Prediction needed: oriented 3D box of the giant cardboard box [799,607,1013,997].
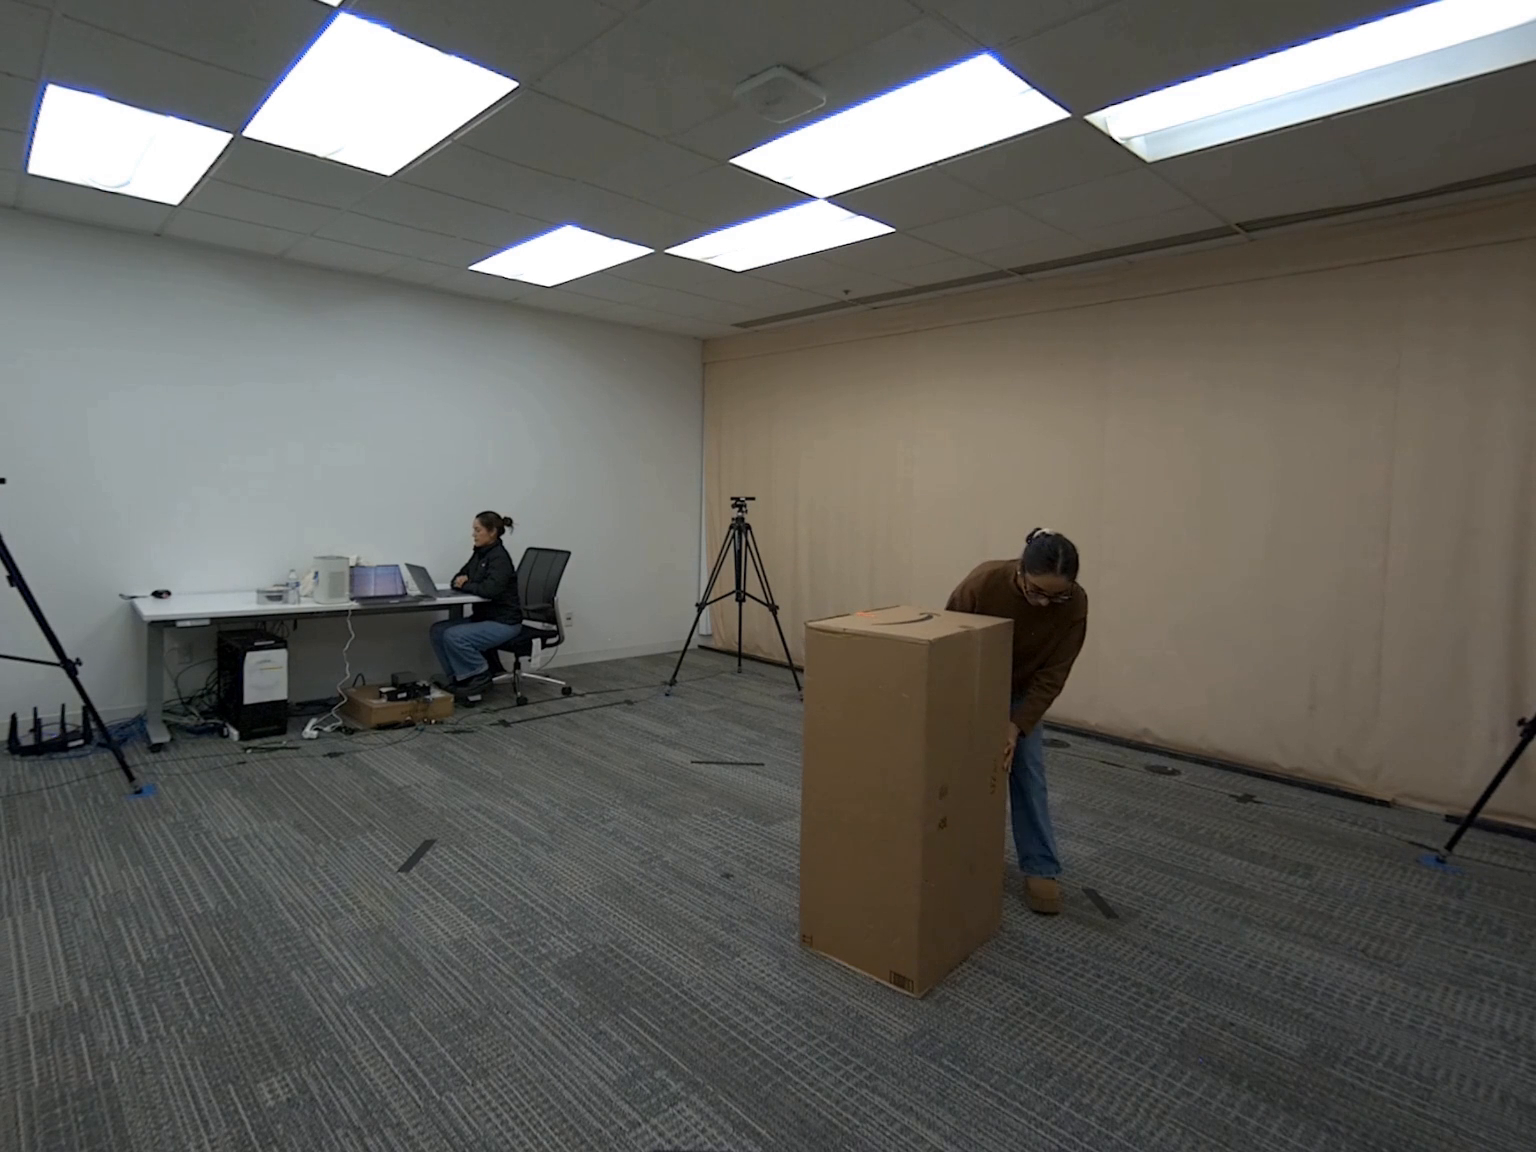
[{"bbox_3d":[0.437,0.651,2.673,0.437,1.023,0.565,4,5,40],"label":"giant cardboard box"}]
